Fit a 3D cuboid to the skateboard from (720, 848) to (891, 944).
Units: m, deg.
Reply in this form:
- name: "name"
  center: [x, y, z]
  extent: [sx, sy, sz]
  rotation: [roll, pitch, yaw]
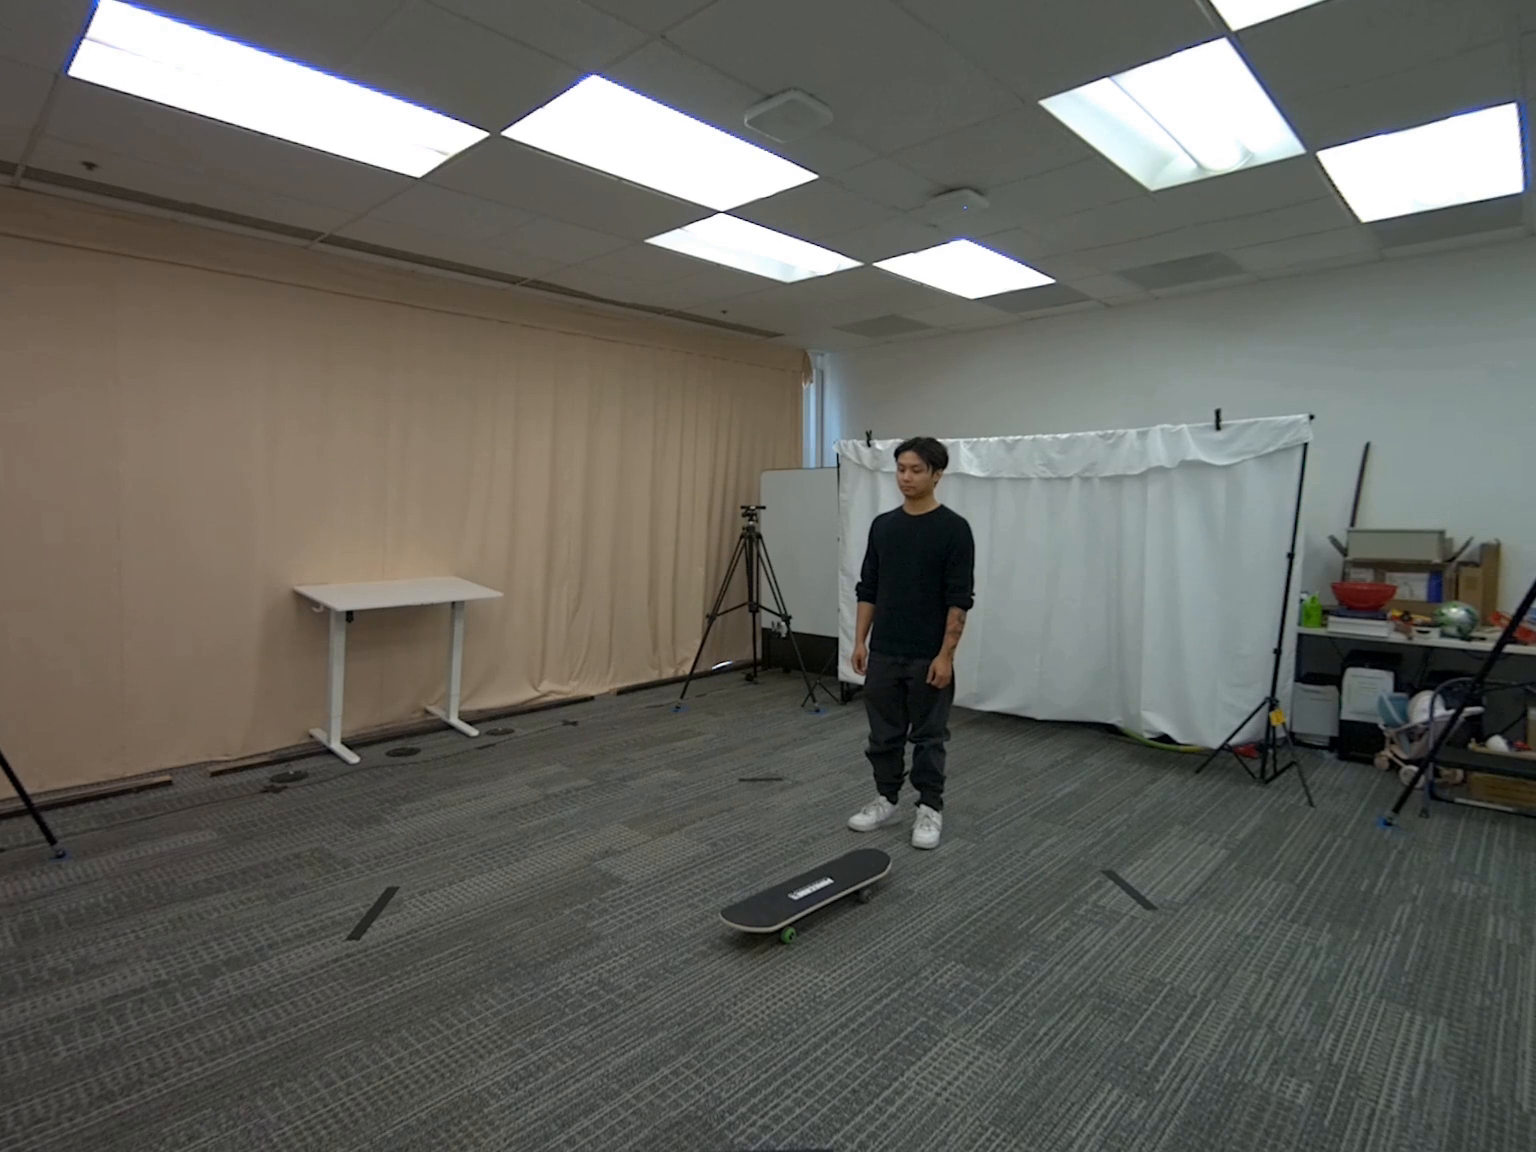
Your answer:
- name: "skateboard"
  center: [0.146, 1.097, 2.866]
  extent: [0.761, 0.110, 0.200]
  rotation: [-4, 6, -44]
